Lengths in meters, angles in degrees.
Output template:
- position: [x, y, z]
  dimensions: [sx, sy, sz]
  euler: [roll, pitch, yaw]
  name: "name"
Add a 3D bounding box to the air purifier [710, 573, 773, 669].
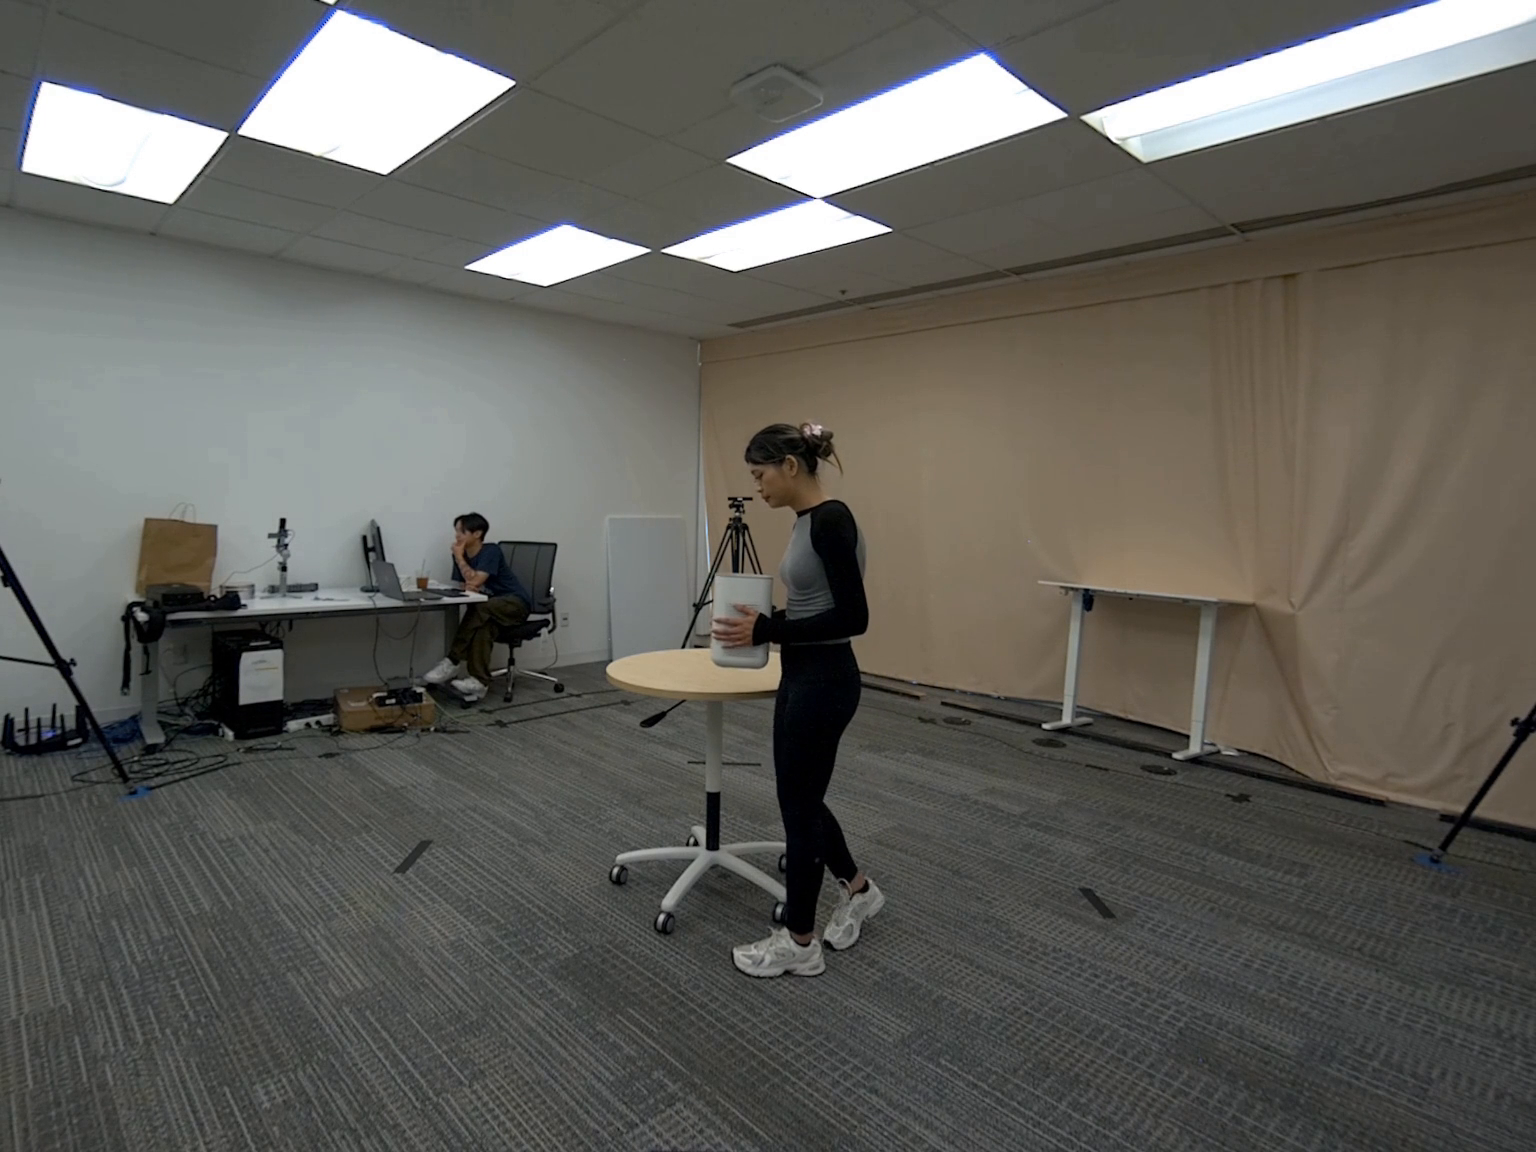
- position: [-0.074, 0.130, 2.470]
  dimensions: [0.171, 0.265, 0.171]
  euler: [5, 1, 2]
  name: "air purifier"
